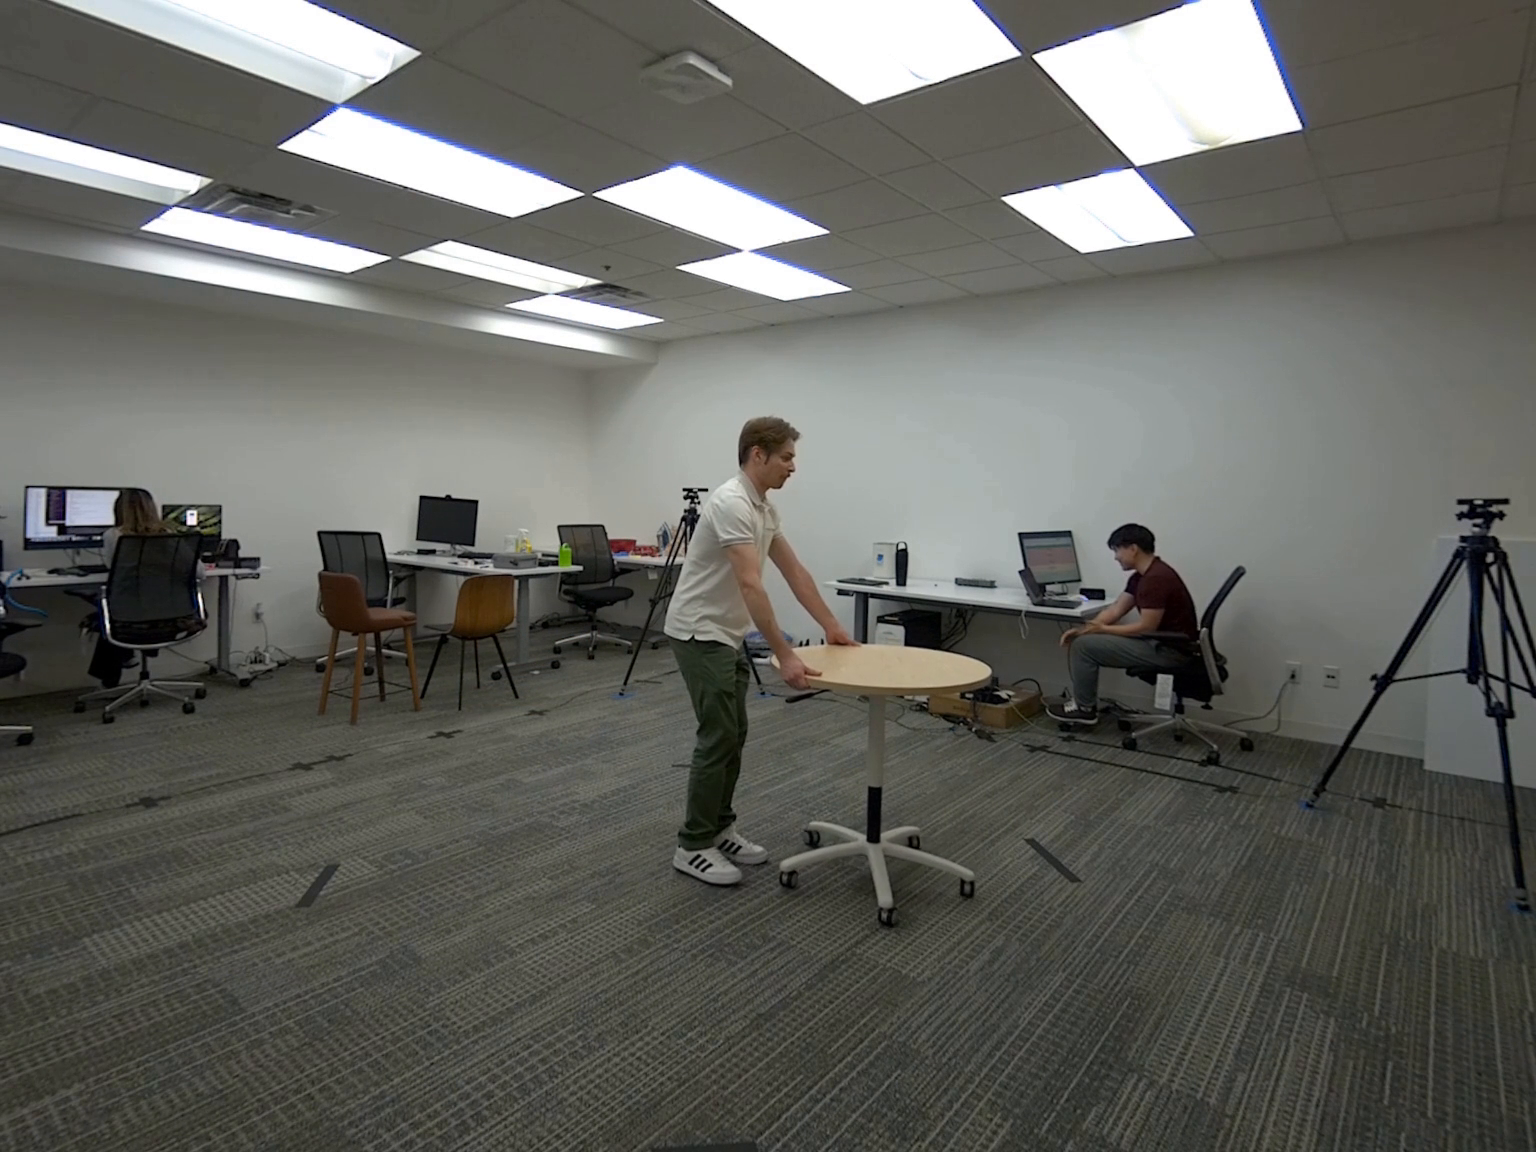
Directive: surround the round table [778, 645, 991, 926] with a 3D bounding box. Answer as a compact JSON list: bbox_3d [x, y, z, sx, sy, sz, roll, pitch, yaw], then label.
[{"bbox_3d":[0.376,0.703,3.038,0.763,0.791,0.768,1,4,-2],"label":"round table"}]
